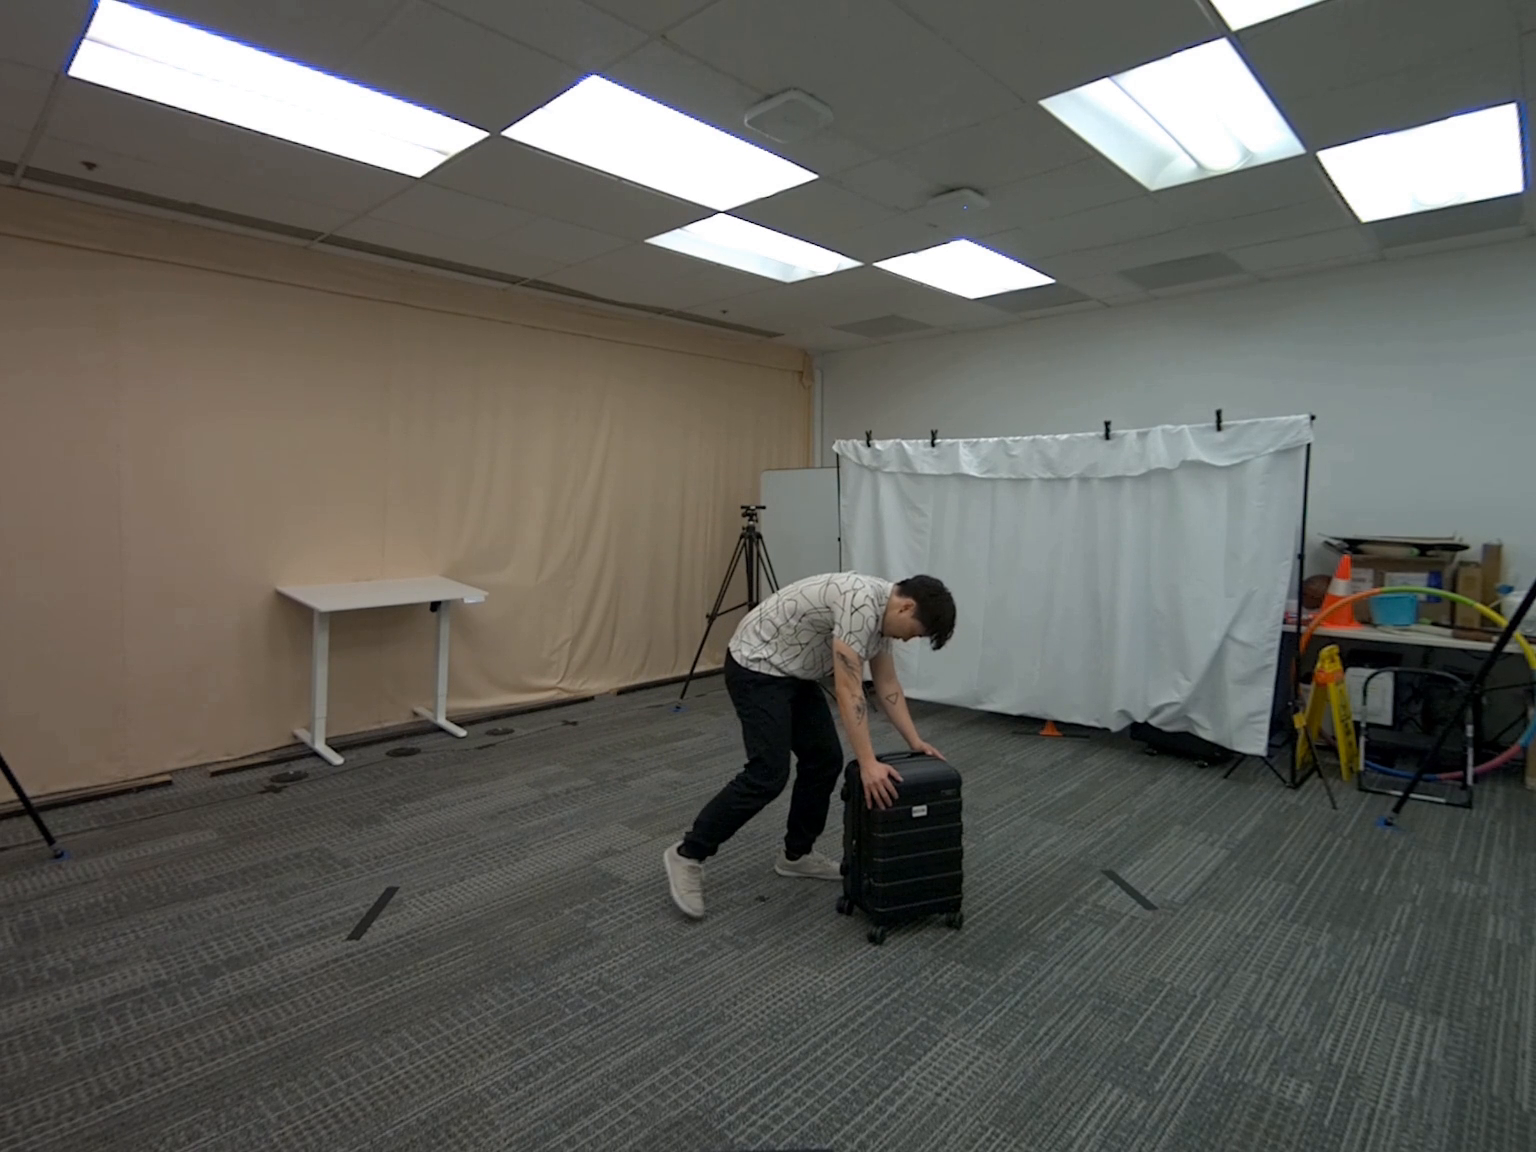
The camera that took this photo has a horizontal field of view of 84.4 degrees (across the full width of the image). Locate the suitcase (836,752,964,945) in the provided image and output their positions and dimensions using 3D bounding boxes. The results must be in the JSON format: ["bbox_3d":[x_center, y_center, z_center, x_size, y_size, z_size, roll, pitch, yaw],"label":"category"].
[{"bbox_3d":[0.460,0.879,2.828,0.368,0.549,0.254,-1,2,-21],"label":"suitcase"}]
